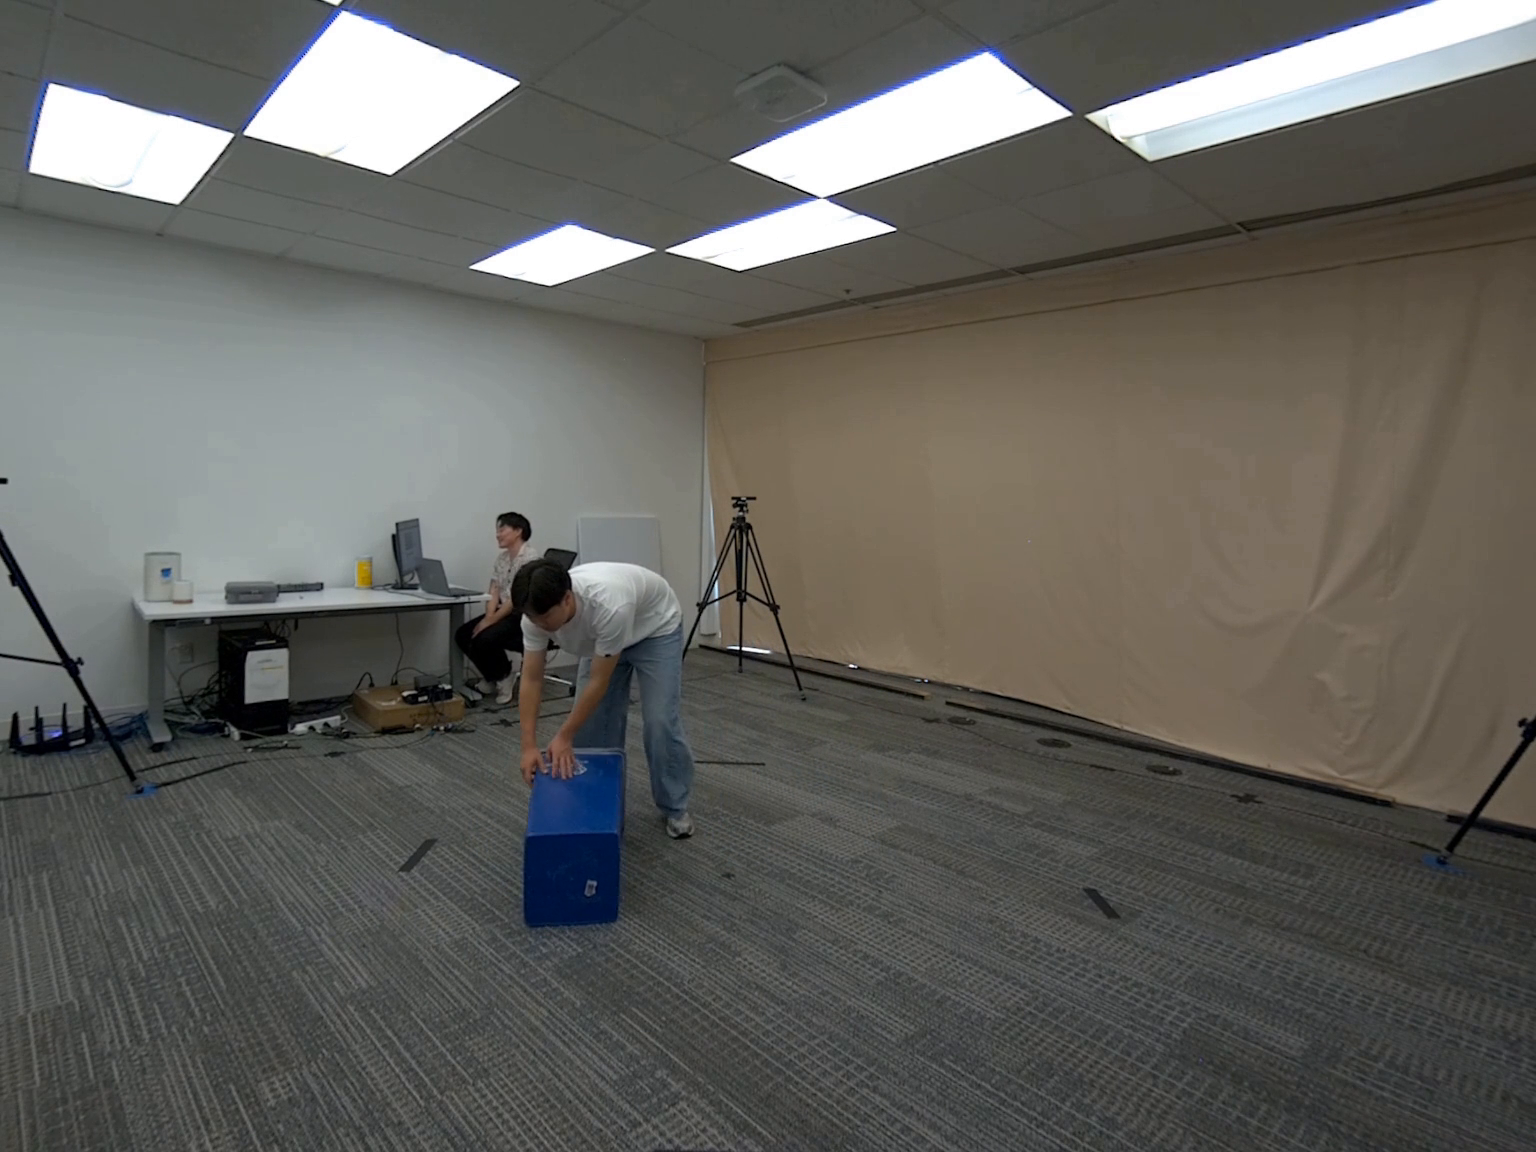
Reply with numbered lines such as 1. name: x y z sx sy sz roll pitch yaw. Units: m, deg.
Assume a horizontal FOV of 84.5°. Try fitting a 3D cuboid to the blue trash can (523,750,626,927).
1. blue trash can: -0.691 0.929 3.053 0.371 0.376 0.723 1 7 -11
